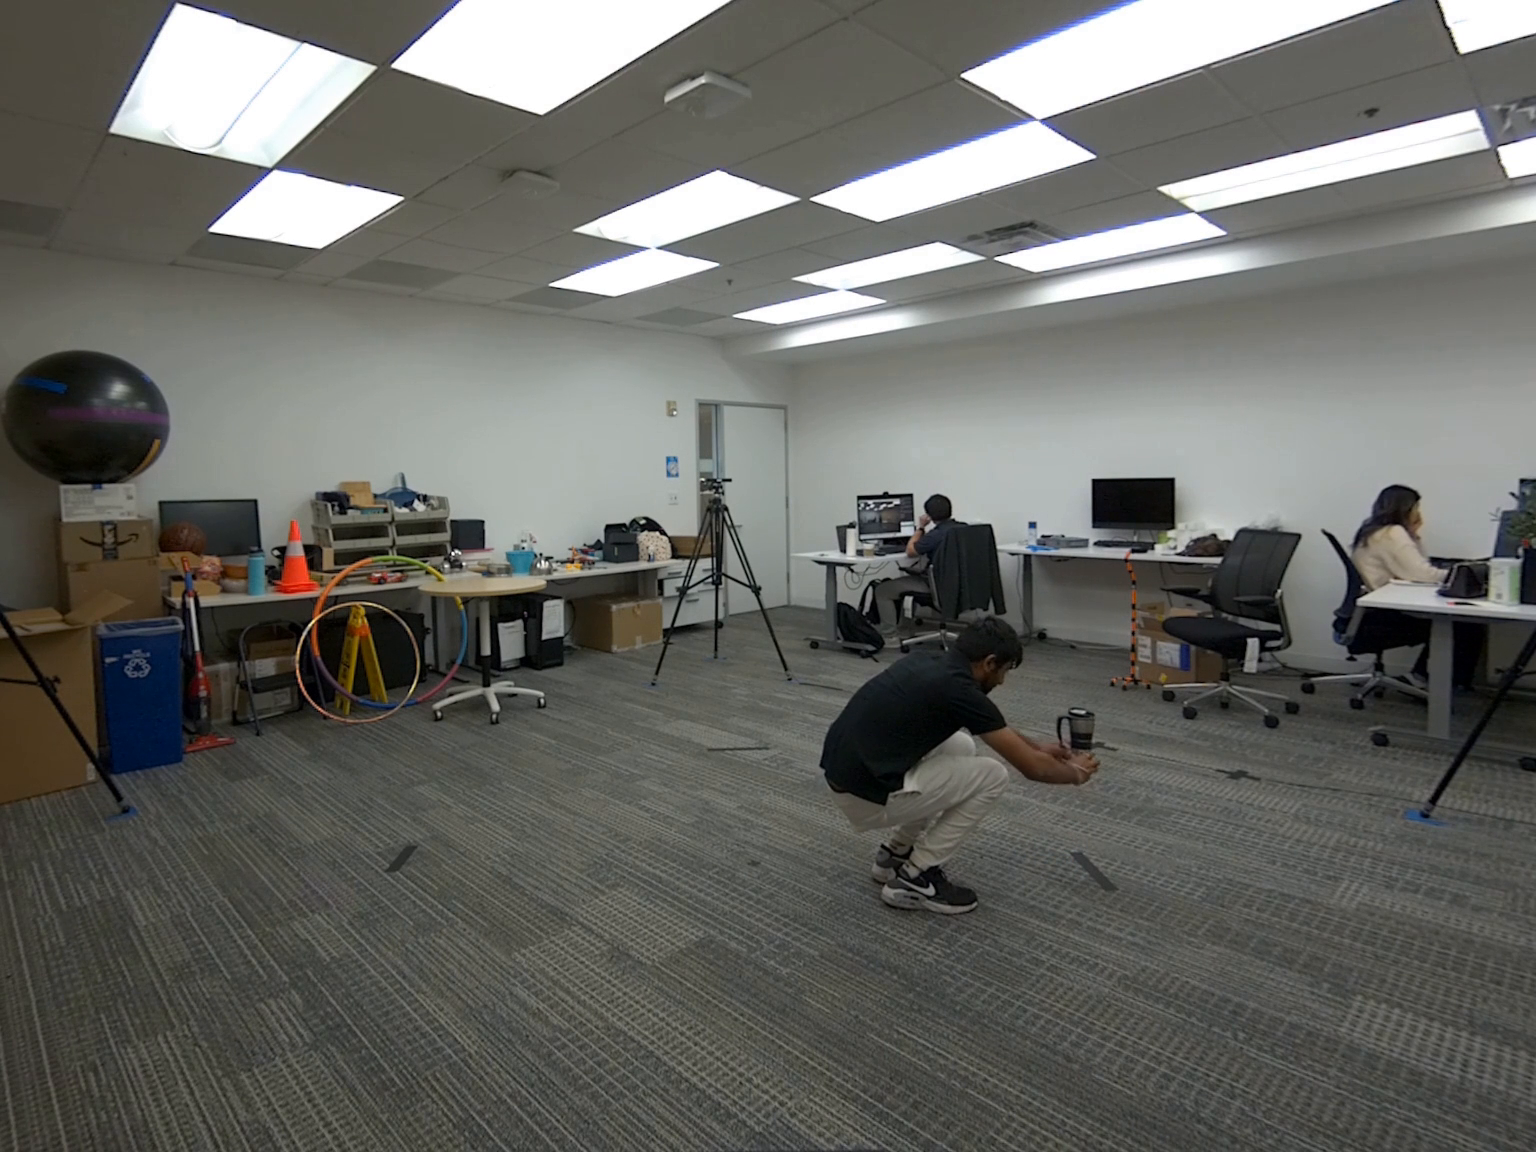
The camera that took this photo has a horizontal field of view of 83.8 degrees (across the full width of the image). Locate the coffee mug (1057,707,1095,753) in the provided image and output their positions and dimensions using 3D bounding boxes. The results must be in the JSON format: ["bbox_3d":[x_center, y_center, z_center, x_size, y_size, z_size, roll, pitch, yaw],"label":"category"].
[{"bbox_3d":[1.077,0.574,3.008,0.125,0.202,0.086,6,8,25],"label":"coffee mug"}]
